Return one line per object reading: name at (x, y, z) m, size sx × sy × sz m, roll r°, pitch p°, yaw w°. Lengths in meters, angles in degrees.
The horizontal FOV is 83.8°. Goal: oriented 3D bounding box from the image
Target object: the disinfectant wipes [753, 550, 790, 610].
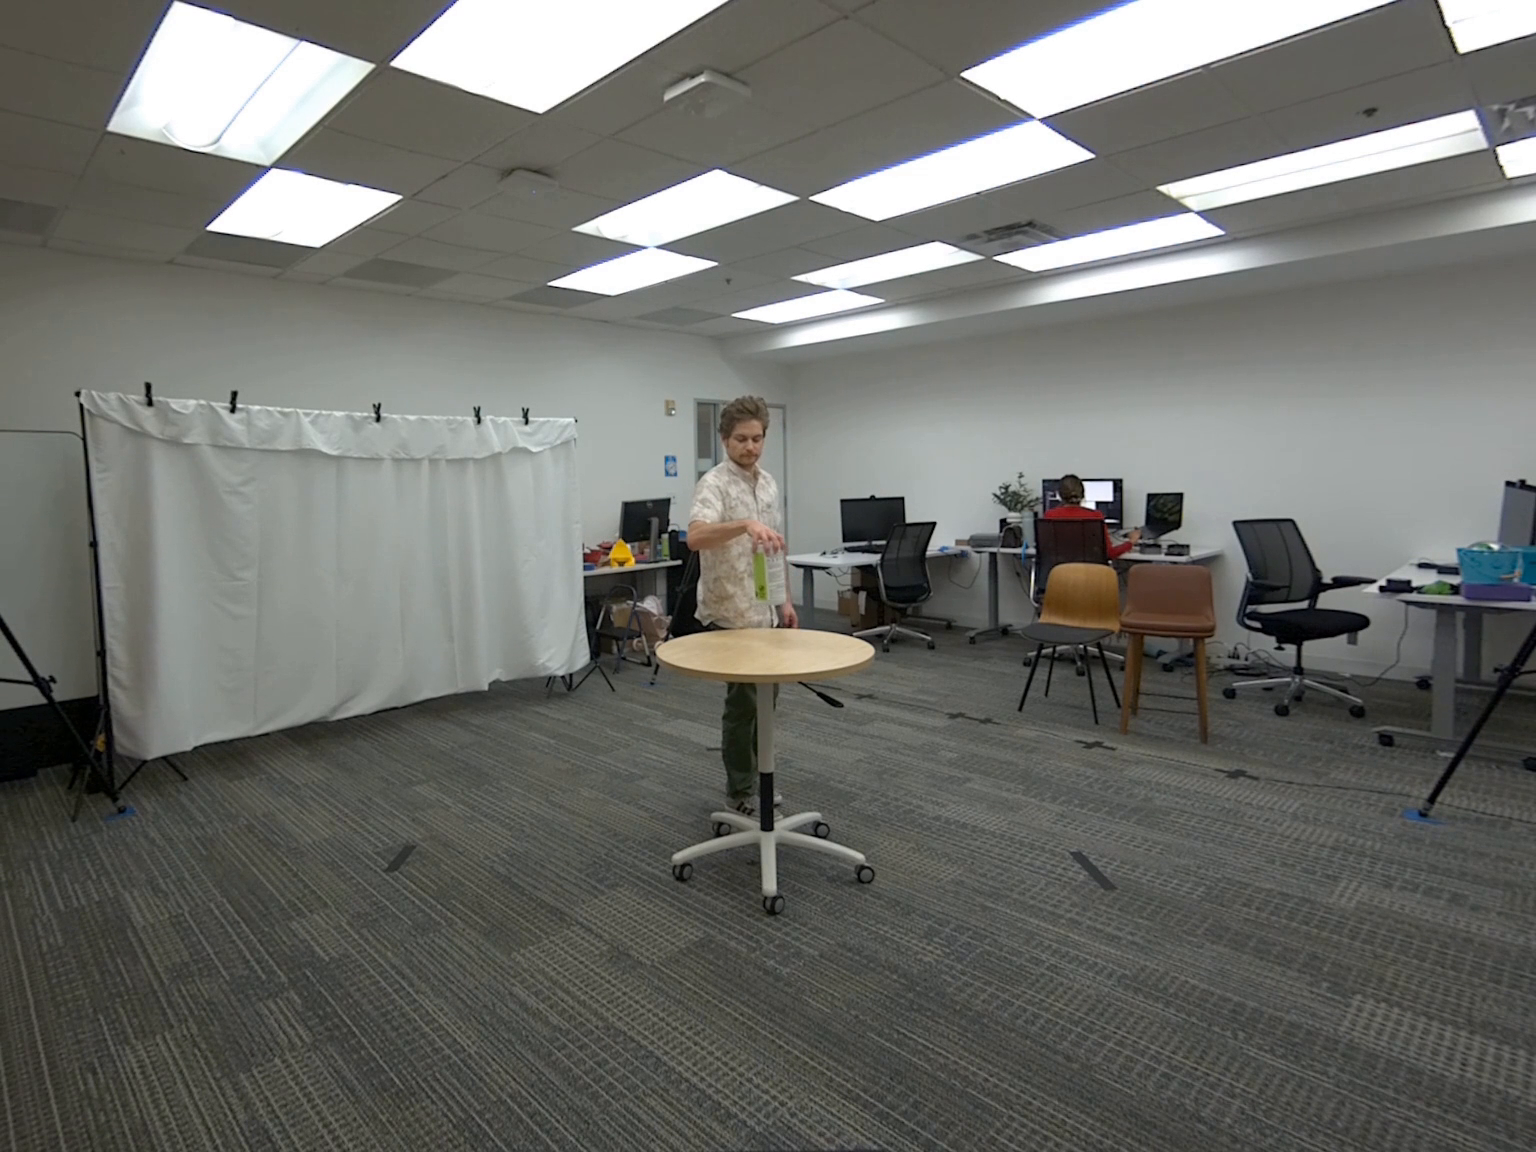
disinfectant wipes at (0.006, -0.008, 3.016) m, size 0.118 × 0.216 × 0.118 m, roll -5°, pitch 4°, yaw -1°
